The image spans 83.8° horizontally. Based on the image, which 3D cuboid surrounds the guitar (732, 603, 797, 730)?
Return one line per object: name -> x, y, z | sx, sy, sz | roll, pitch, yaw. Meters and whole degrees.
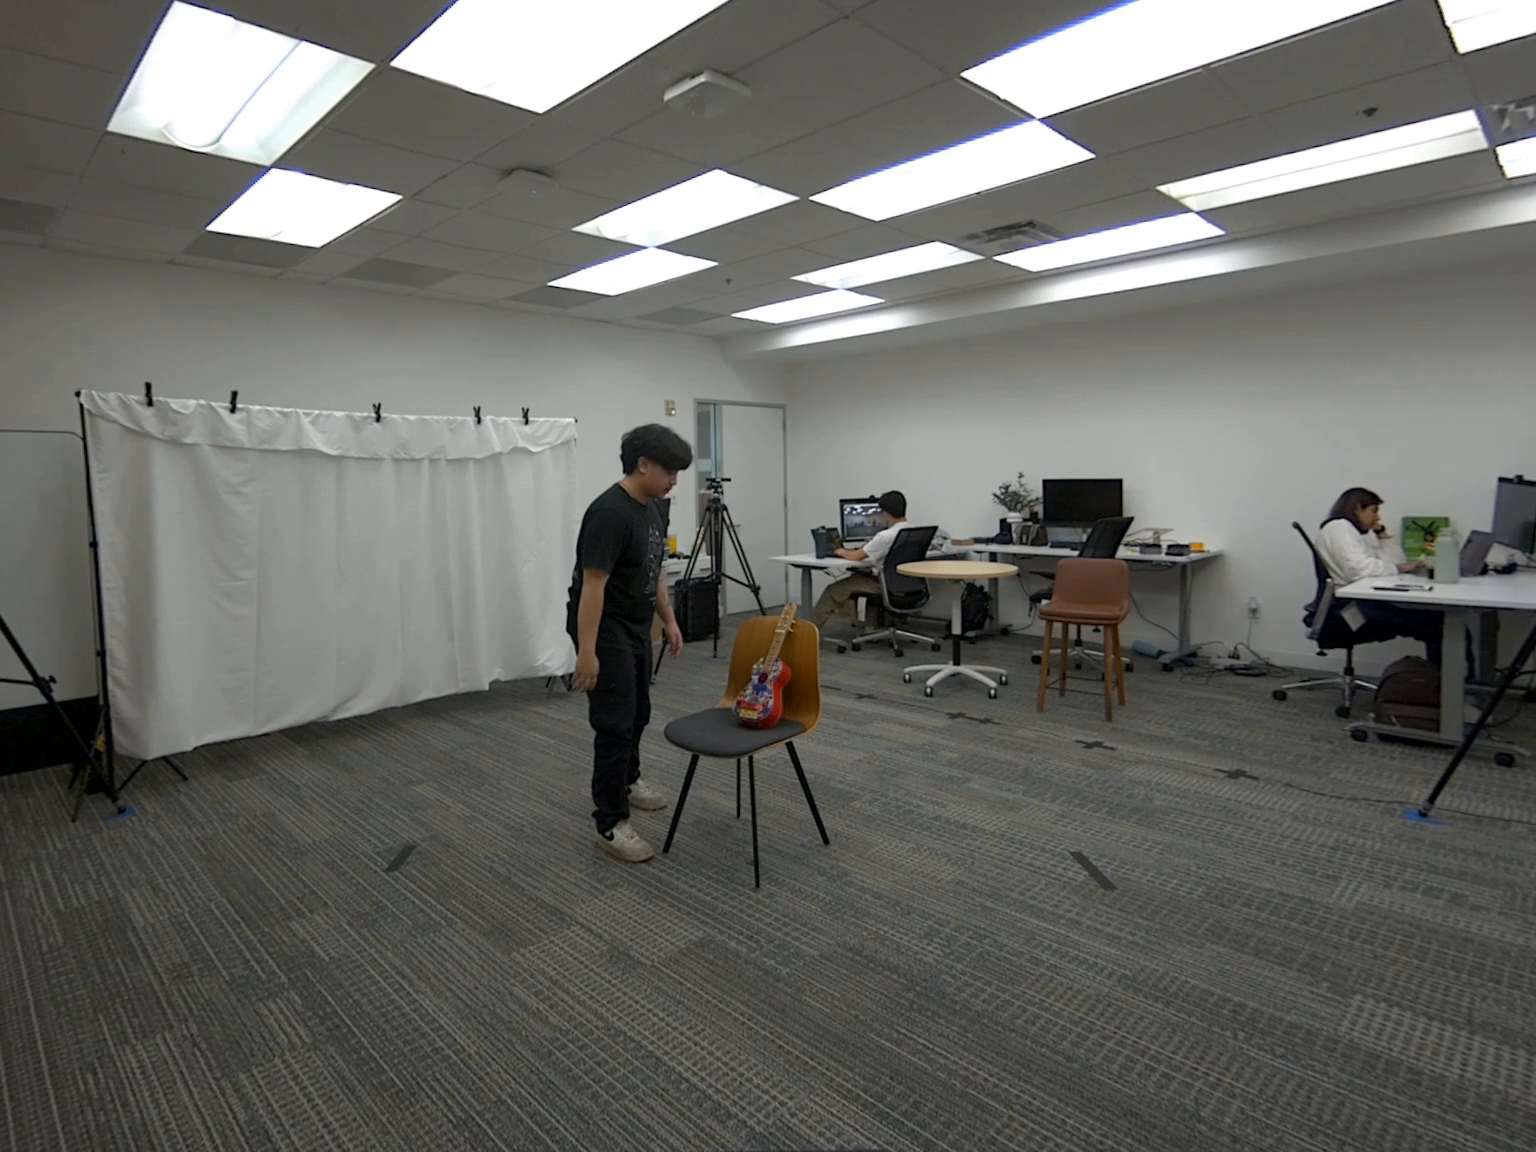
guitar -> 0.032, 0.338, 3.235 | 0.199, 0.500, 0.068 | 9, -26, 46
